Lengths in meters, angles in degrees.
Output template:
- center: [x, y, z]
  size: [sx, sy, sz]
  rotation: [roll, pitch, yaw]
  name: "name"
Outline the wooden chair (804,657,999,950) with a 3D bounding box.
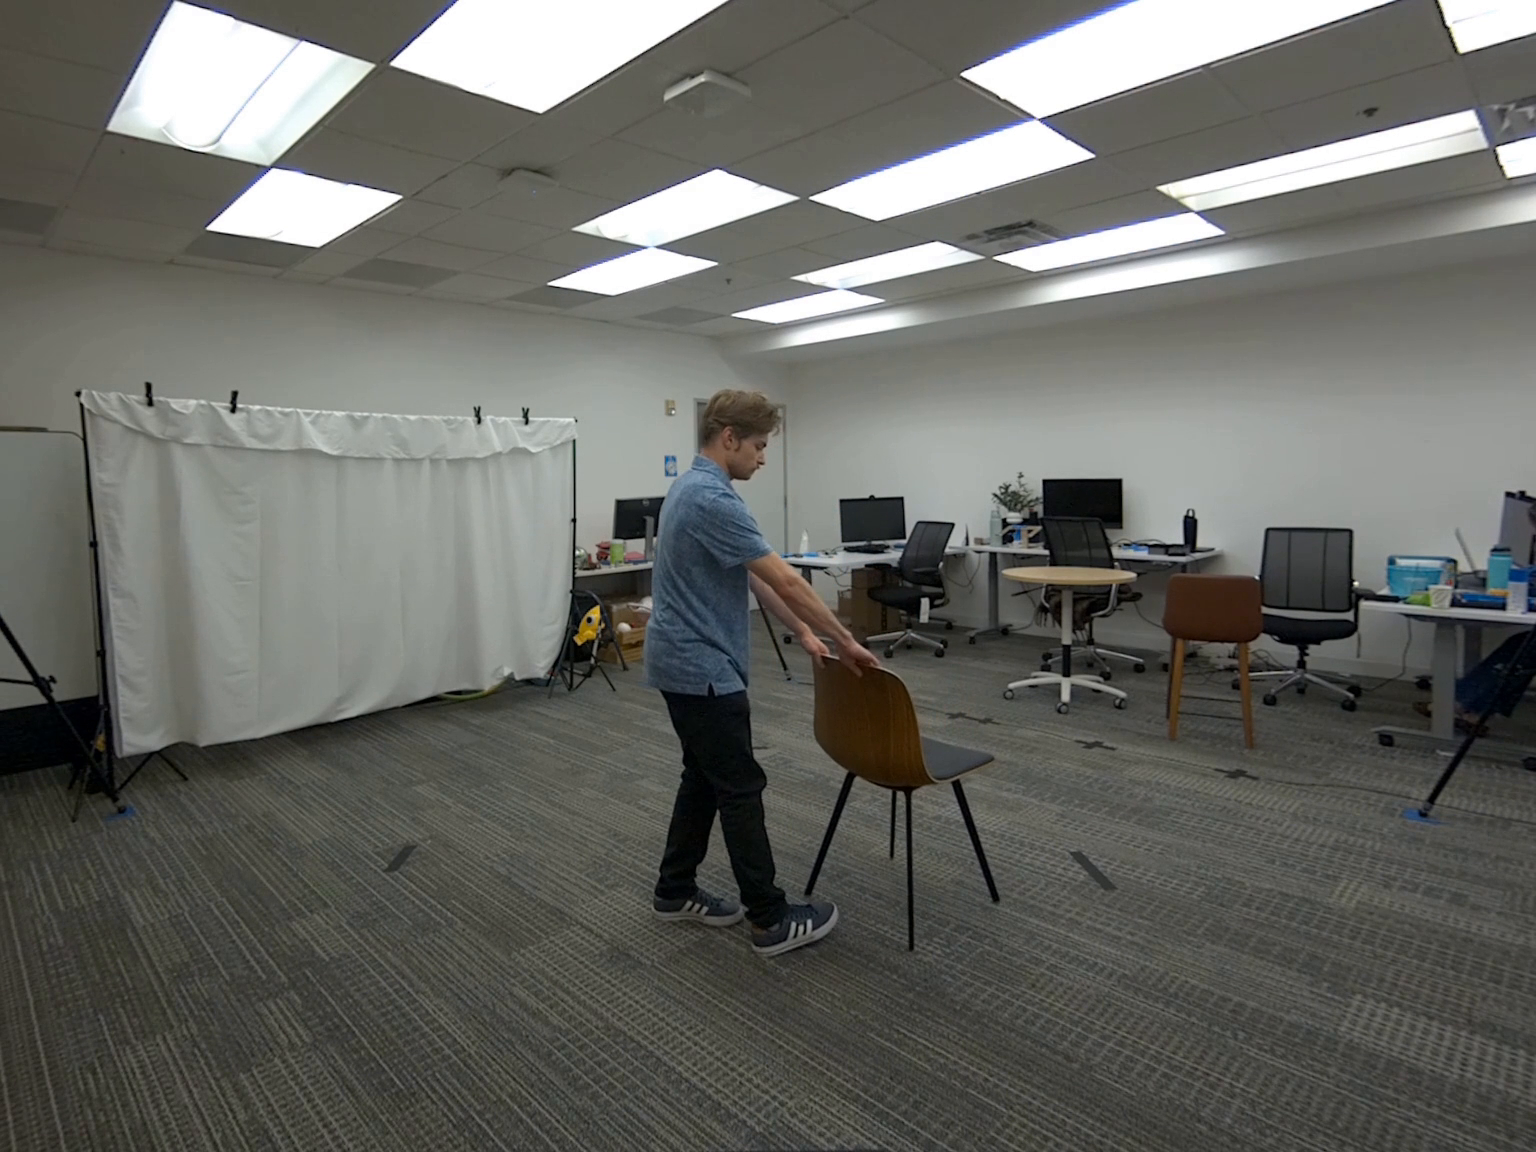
- center: [0.439, 0.641, 2.797]
  size: [0.511, 0.871, 0.493]
  rotation: [-10, 9, -40]
  name: "wooden chair"
